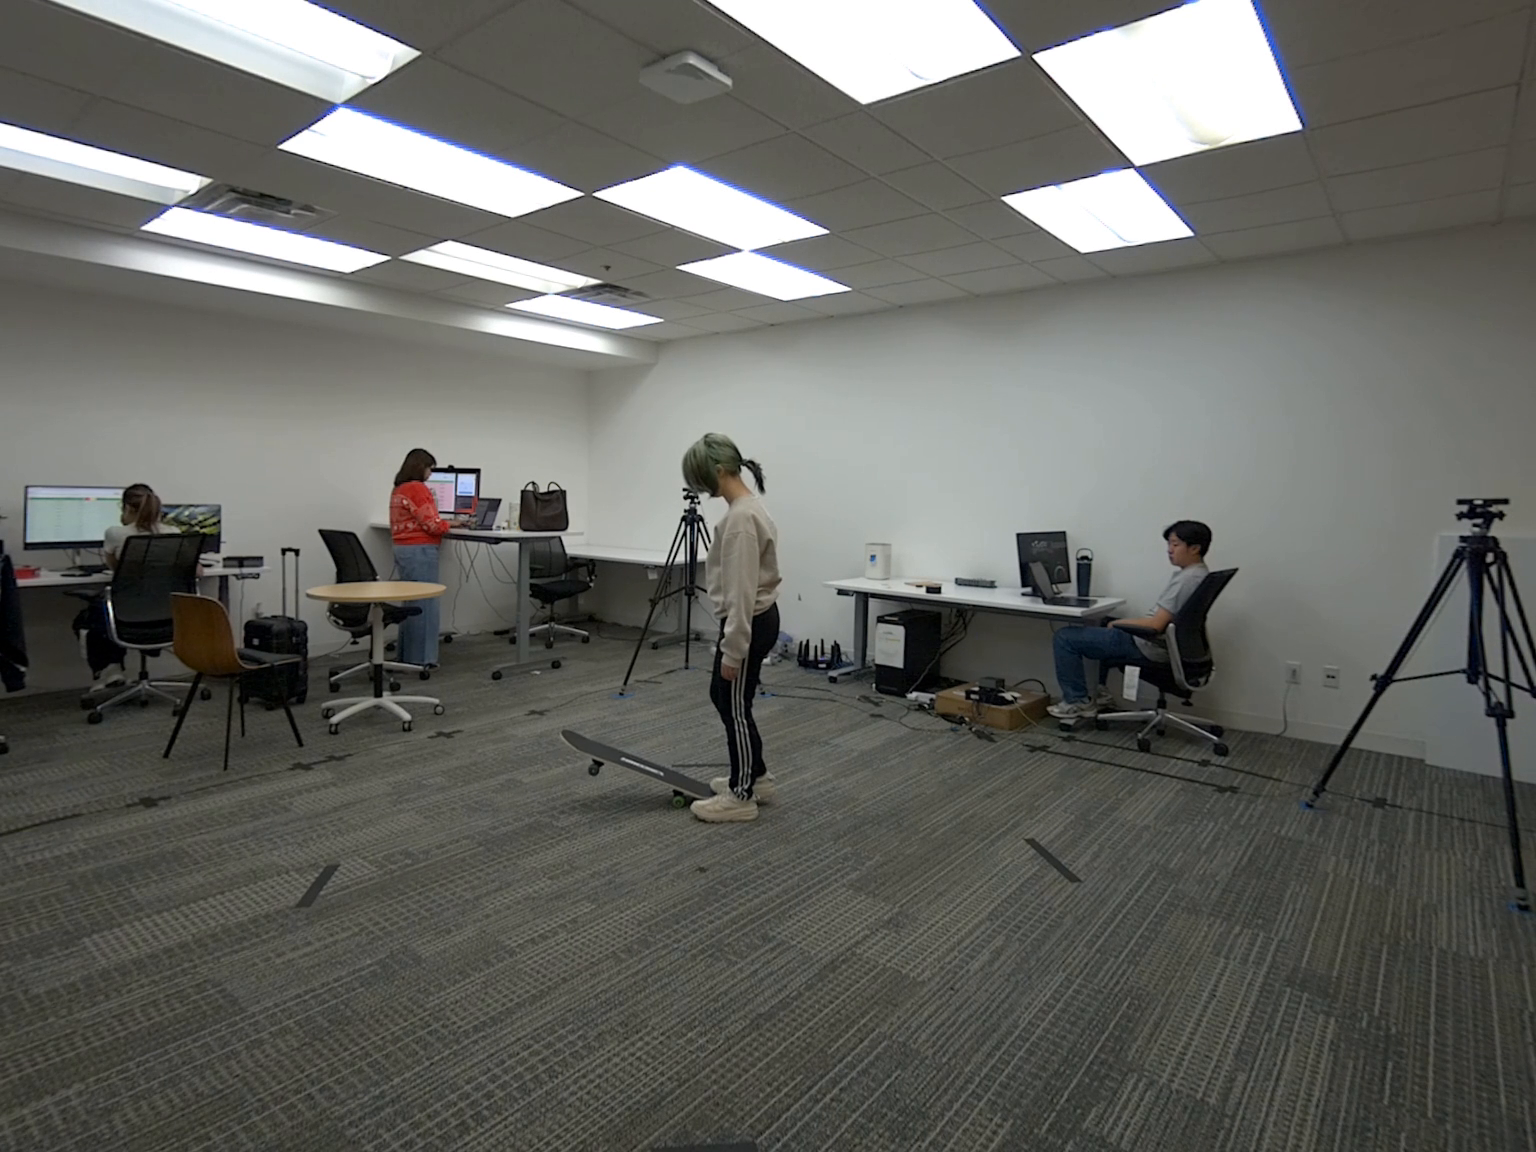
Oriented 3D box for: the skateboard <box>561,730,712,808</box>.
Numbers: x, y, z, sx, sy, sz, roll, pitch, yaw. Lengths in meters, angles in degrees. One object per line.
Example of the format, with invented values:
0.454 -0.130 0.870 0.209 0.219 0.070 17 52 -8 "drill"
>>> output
-0.589 0.884 3.784 0.785 0.110 0.194 21 3 -1 "skateboard"
